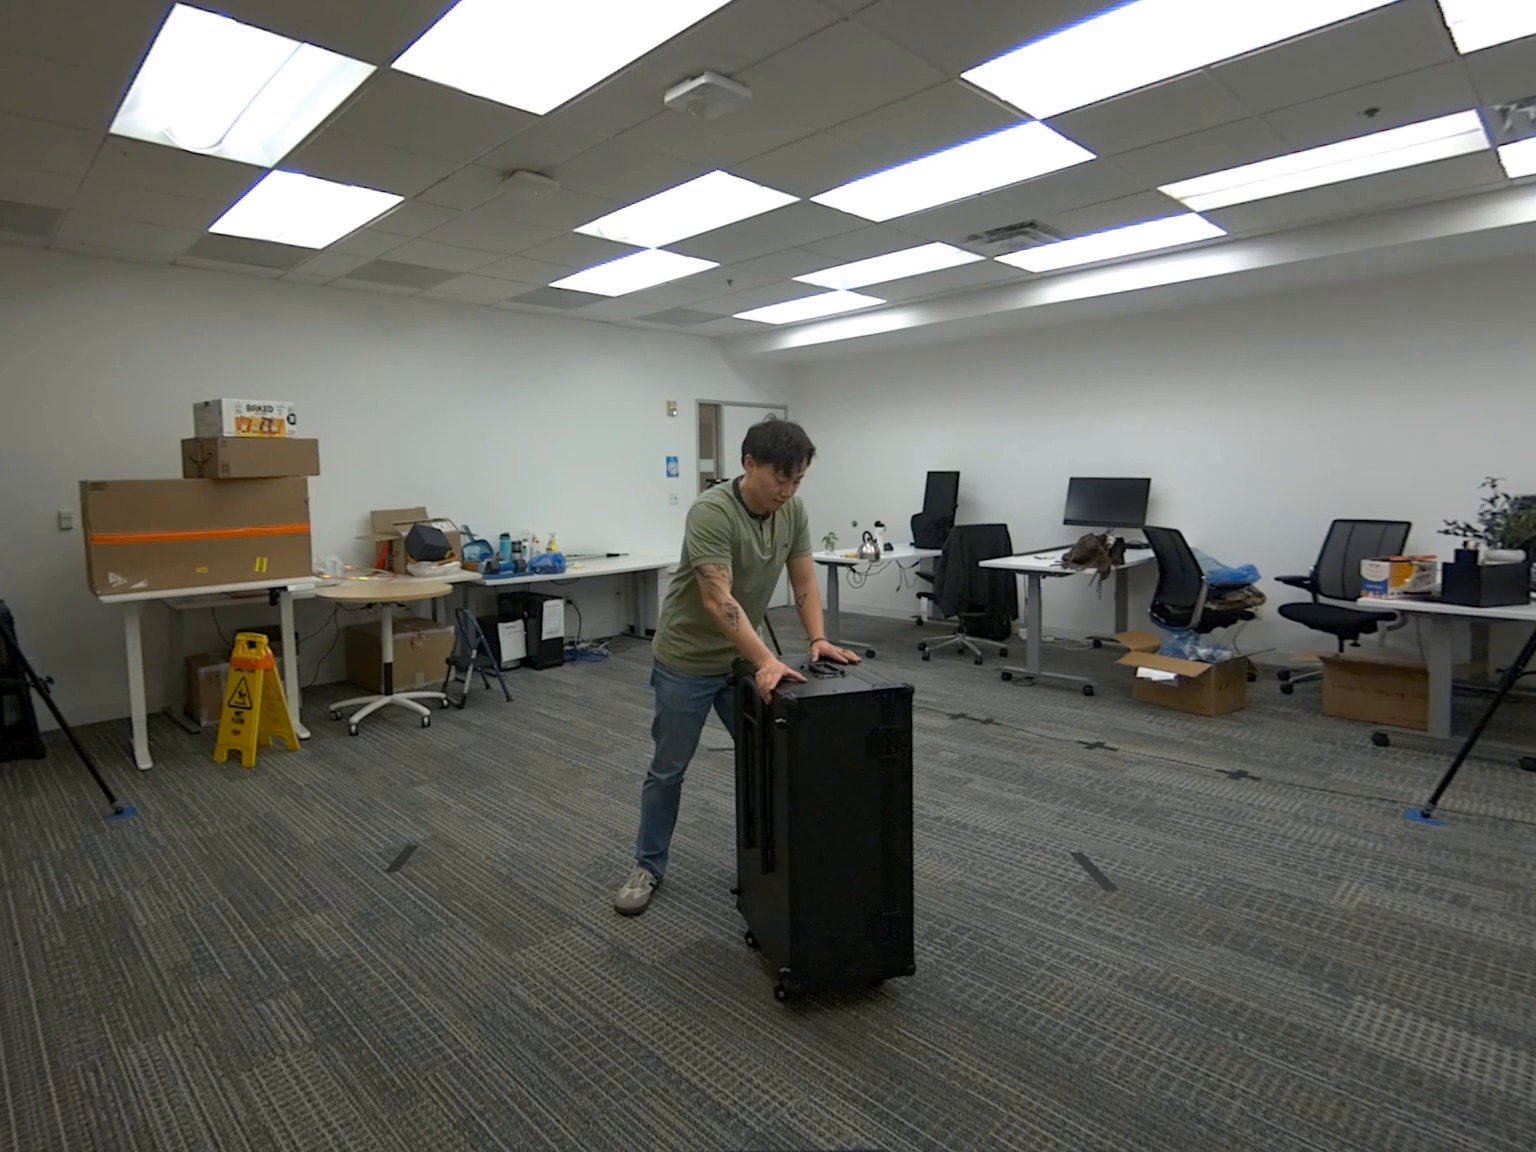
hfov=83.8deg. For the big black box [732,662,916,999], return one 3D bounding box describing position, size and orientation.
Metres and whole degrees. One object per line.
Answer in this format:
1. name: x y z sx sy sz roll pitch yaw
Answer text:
1. big black box: 0.143 0.698 2.422 0.390 0.858 0.531 -2 5 -18
